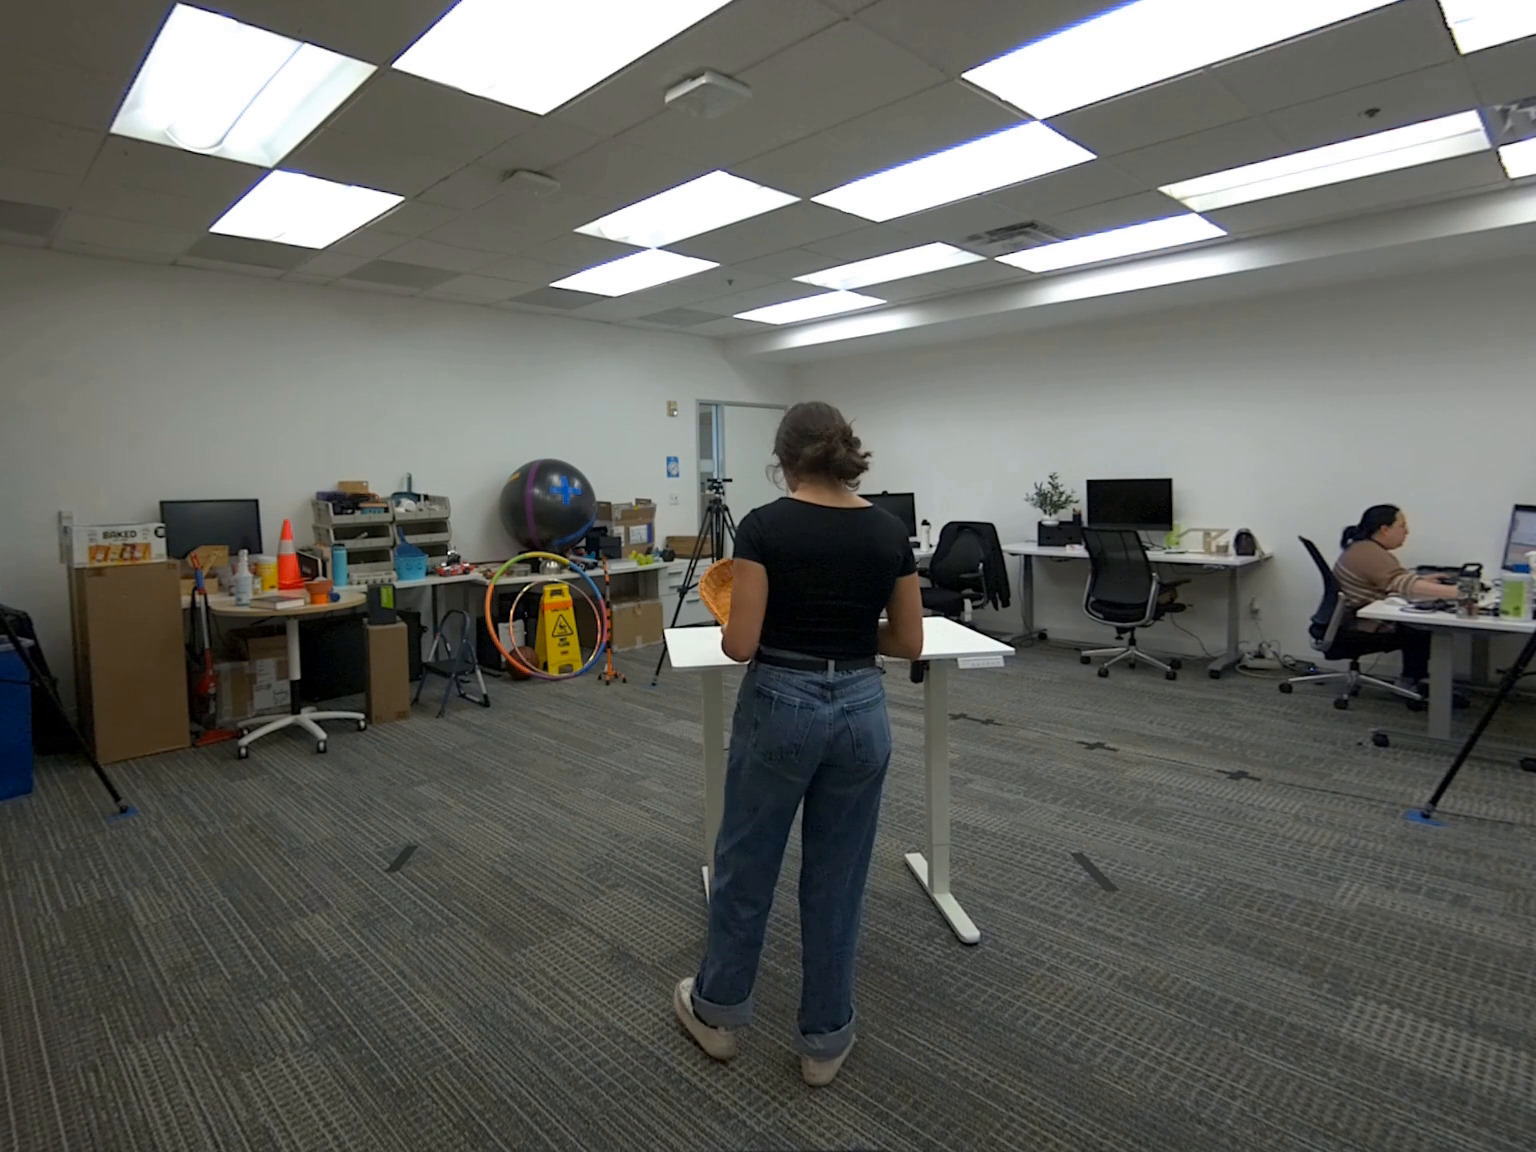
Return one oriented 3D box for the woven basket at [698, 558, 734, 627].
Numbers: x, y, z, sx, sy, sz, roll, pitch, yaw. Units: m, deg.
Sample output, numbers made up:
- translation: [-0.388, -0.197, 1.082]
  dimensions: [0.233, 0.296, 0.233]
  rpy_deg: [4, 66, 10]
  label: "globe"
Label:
- translation: [-0.023, 0.084, 2.251]
  dimensions: [0.250, 0.071, 0.364]
  rpy_deg: [-17, 43, -15]
  label: "woven basket"
